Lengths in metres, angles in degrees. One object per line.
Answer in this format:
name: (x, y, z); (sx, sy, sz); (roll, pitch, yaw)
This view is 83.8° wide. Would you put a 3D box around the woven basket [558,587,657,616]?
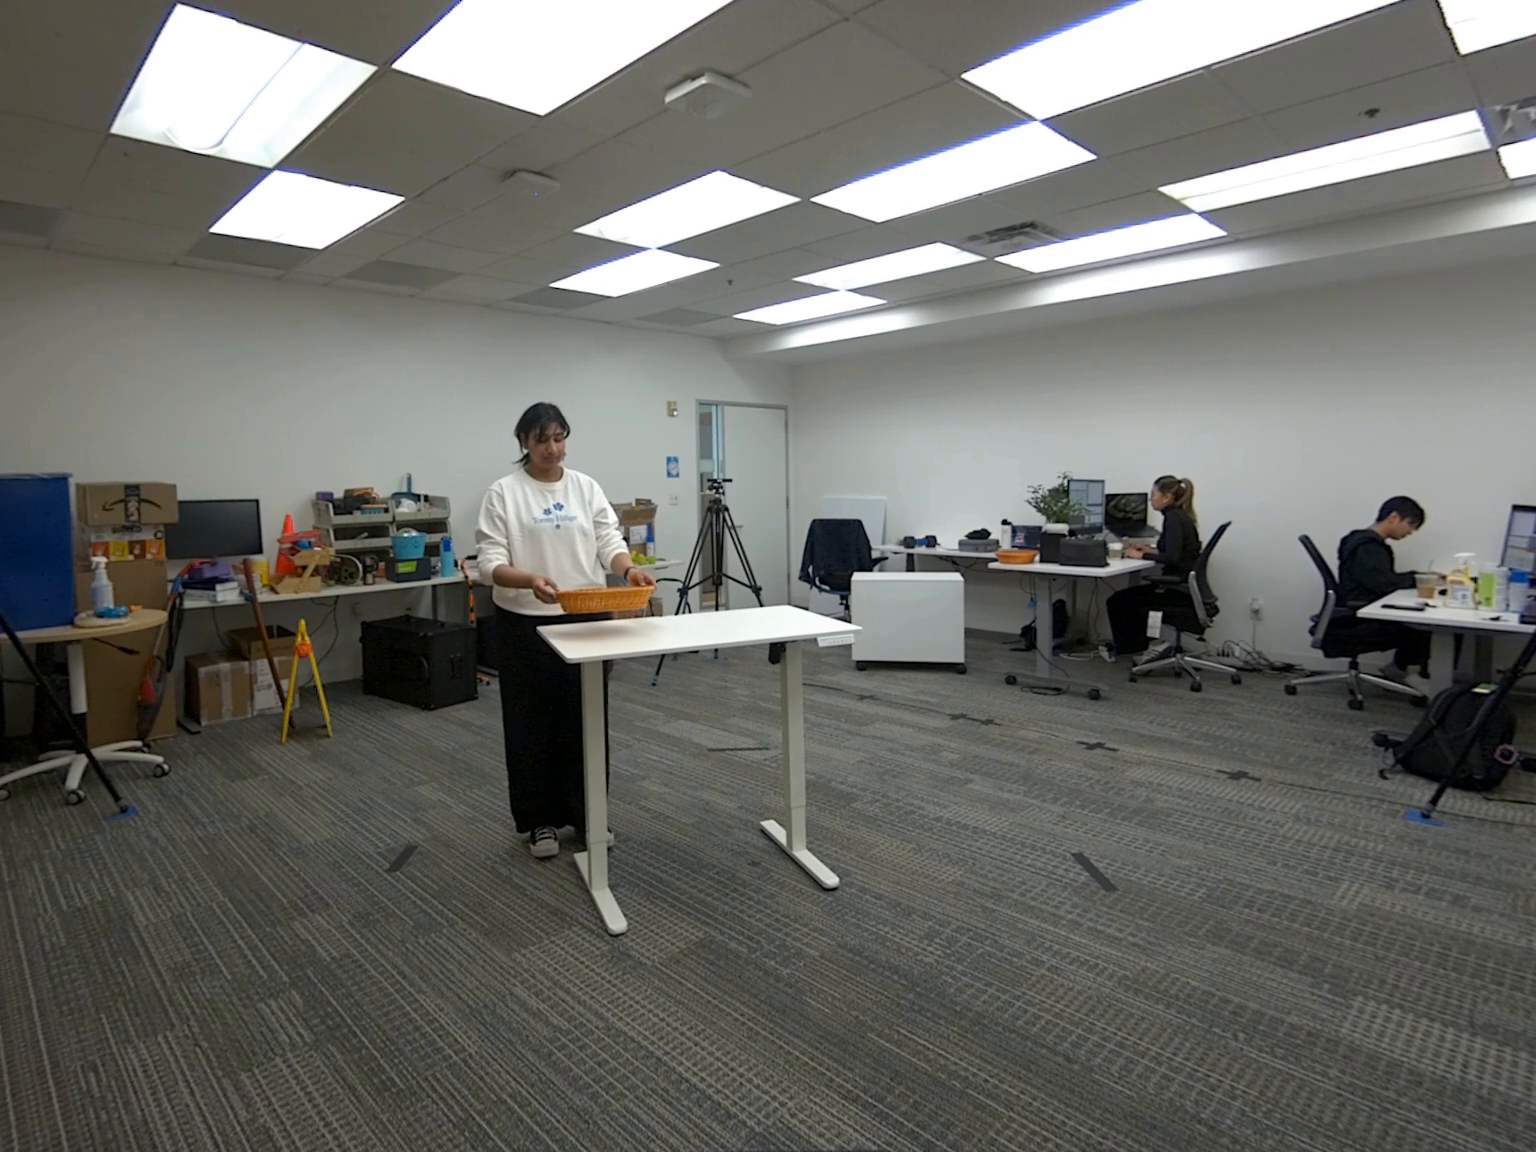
woven basket: (-0.574, 0.083, 2.952); (0.346, 0.073, 0.255); (-3, 2, -14)
